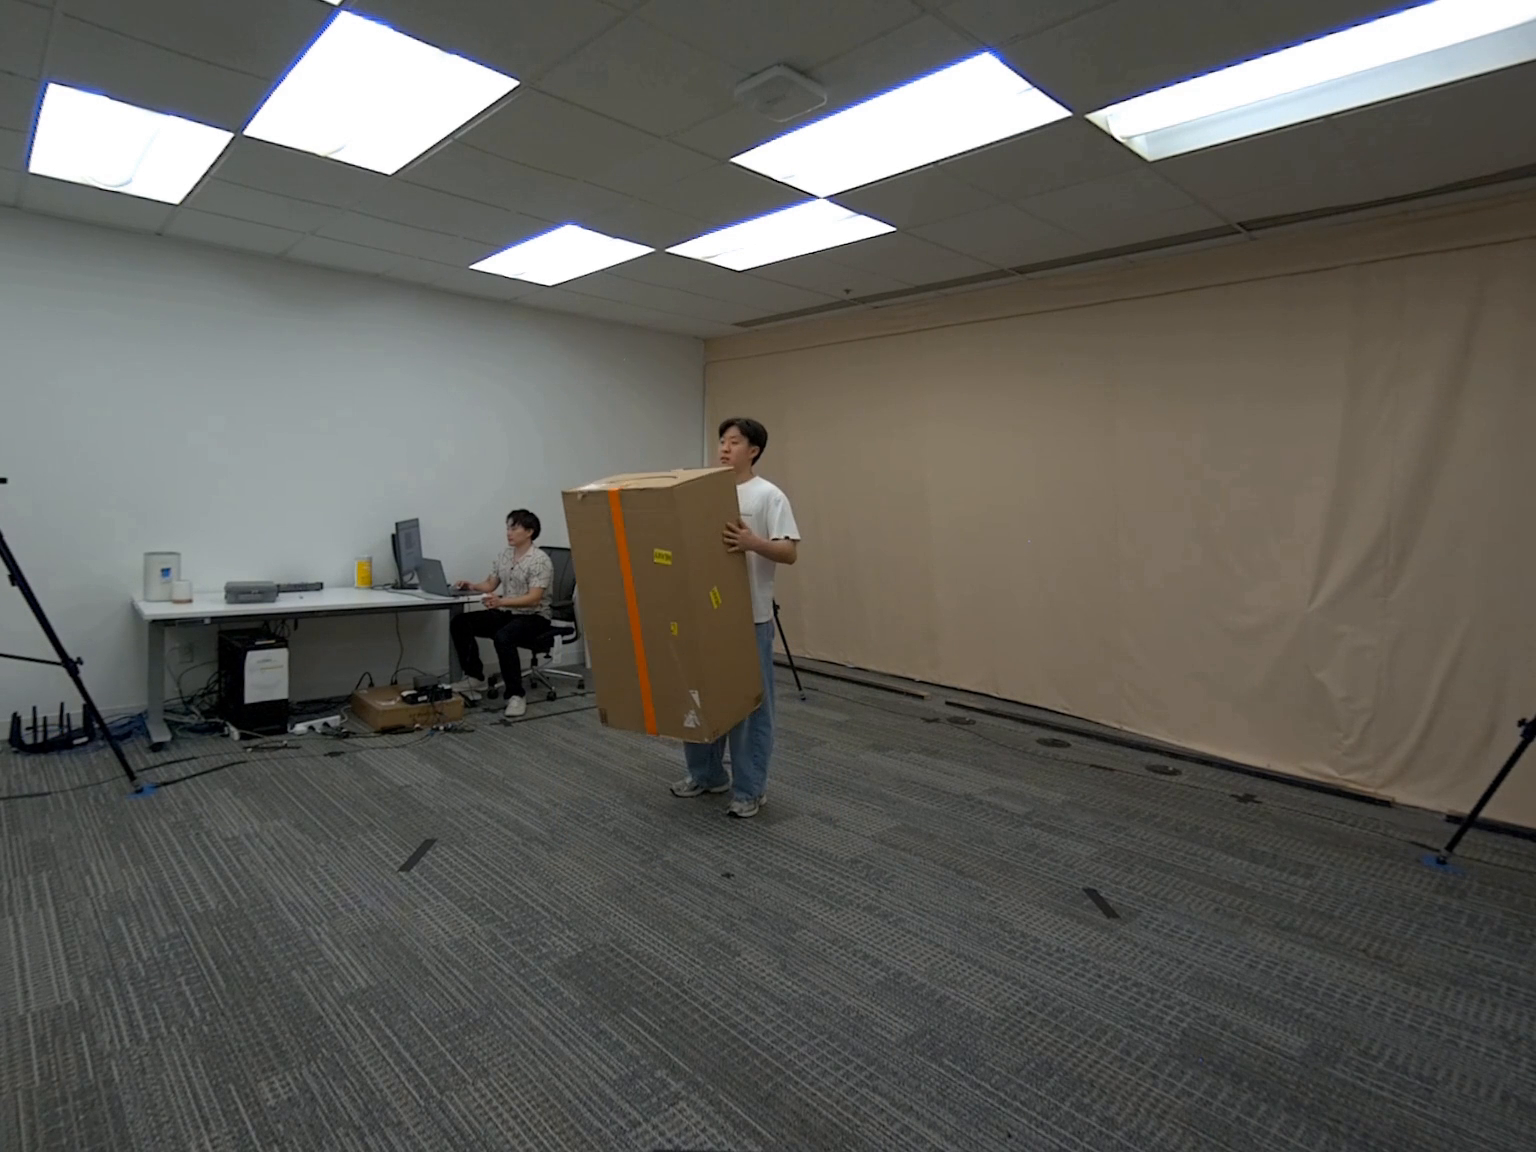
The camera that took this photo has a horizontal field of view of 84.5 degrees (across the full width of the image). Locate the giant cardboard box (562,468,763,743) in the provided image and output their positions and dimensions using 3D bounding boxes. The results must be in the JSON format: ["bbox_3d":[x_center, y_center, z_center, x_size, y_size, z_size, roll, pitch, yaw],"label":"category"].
[{"bbox_3d":[-0.436,0.093,3.495,0.590,1.015,0.421,1,15,32],"label":"giant cardboard box"}]
